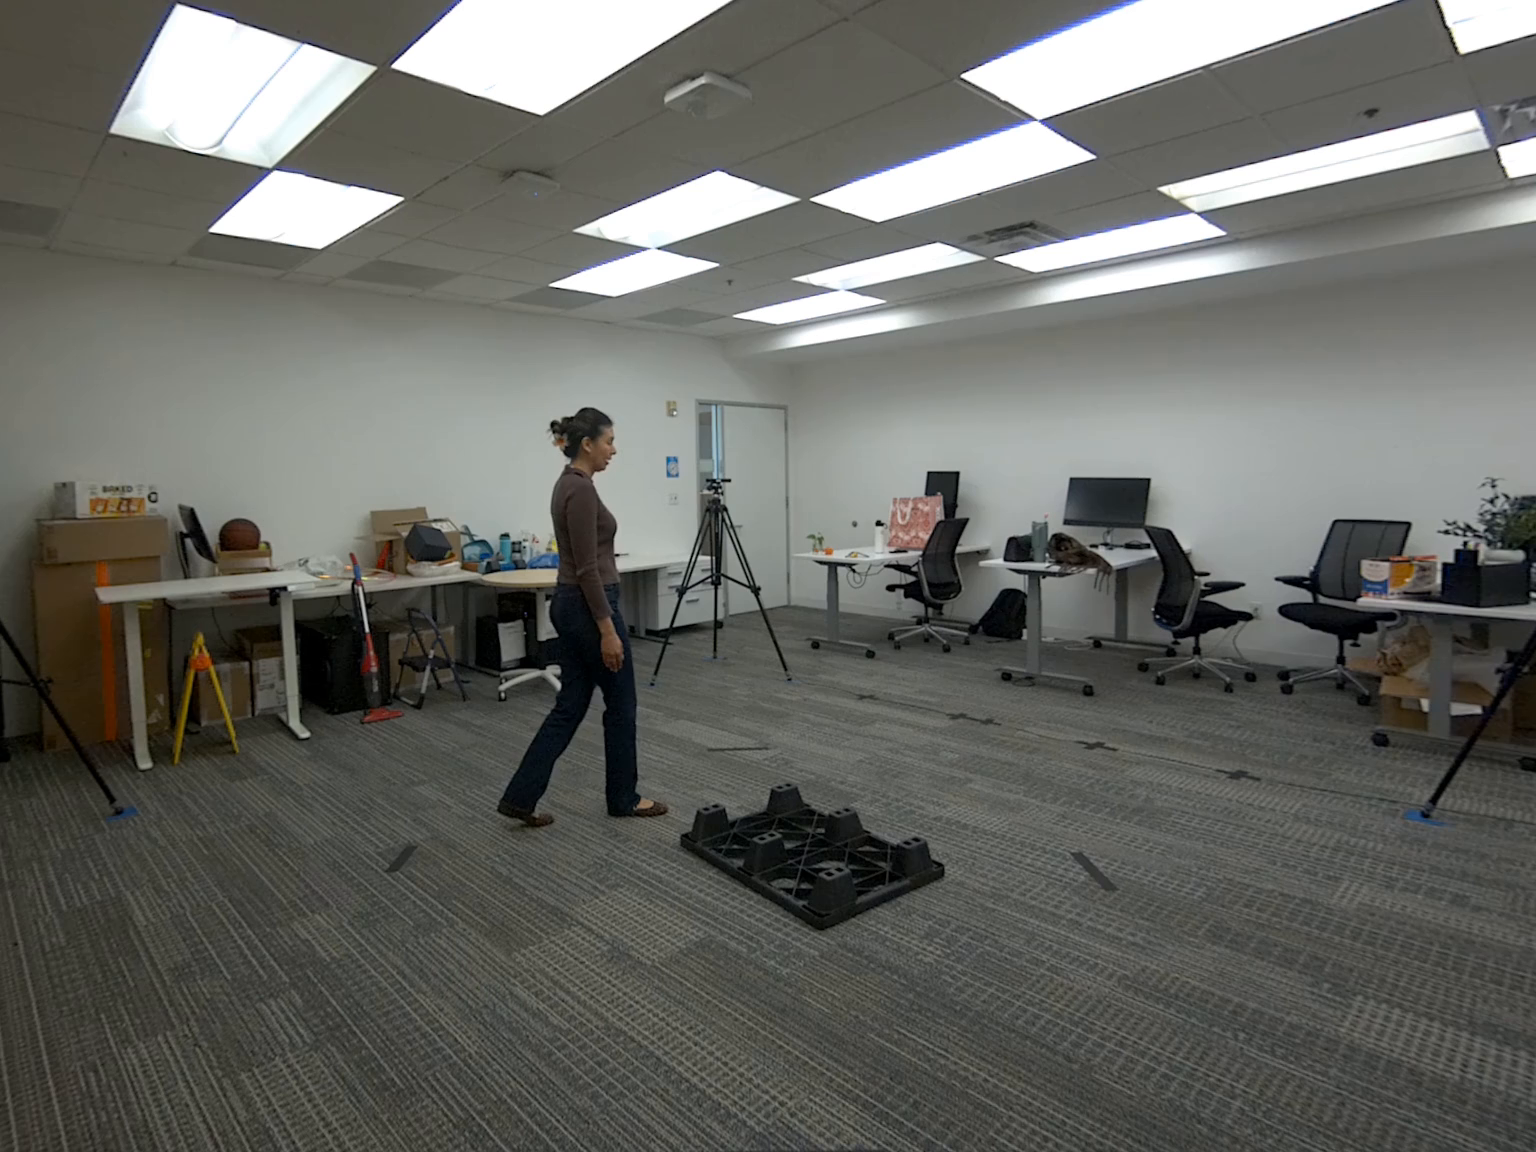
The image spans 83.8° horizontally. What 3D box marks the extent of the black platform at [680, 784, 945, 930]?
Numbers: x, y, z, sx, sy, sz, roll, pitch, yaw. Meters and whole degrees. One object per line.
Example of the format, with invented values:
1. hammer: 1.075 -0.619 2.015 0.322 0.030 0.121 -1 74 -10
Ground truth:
1. black platform: 0.138 0.971 3.125 0.589 0.143 0.830 -6 7 -38
